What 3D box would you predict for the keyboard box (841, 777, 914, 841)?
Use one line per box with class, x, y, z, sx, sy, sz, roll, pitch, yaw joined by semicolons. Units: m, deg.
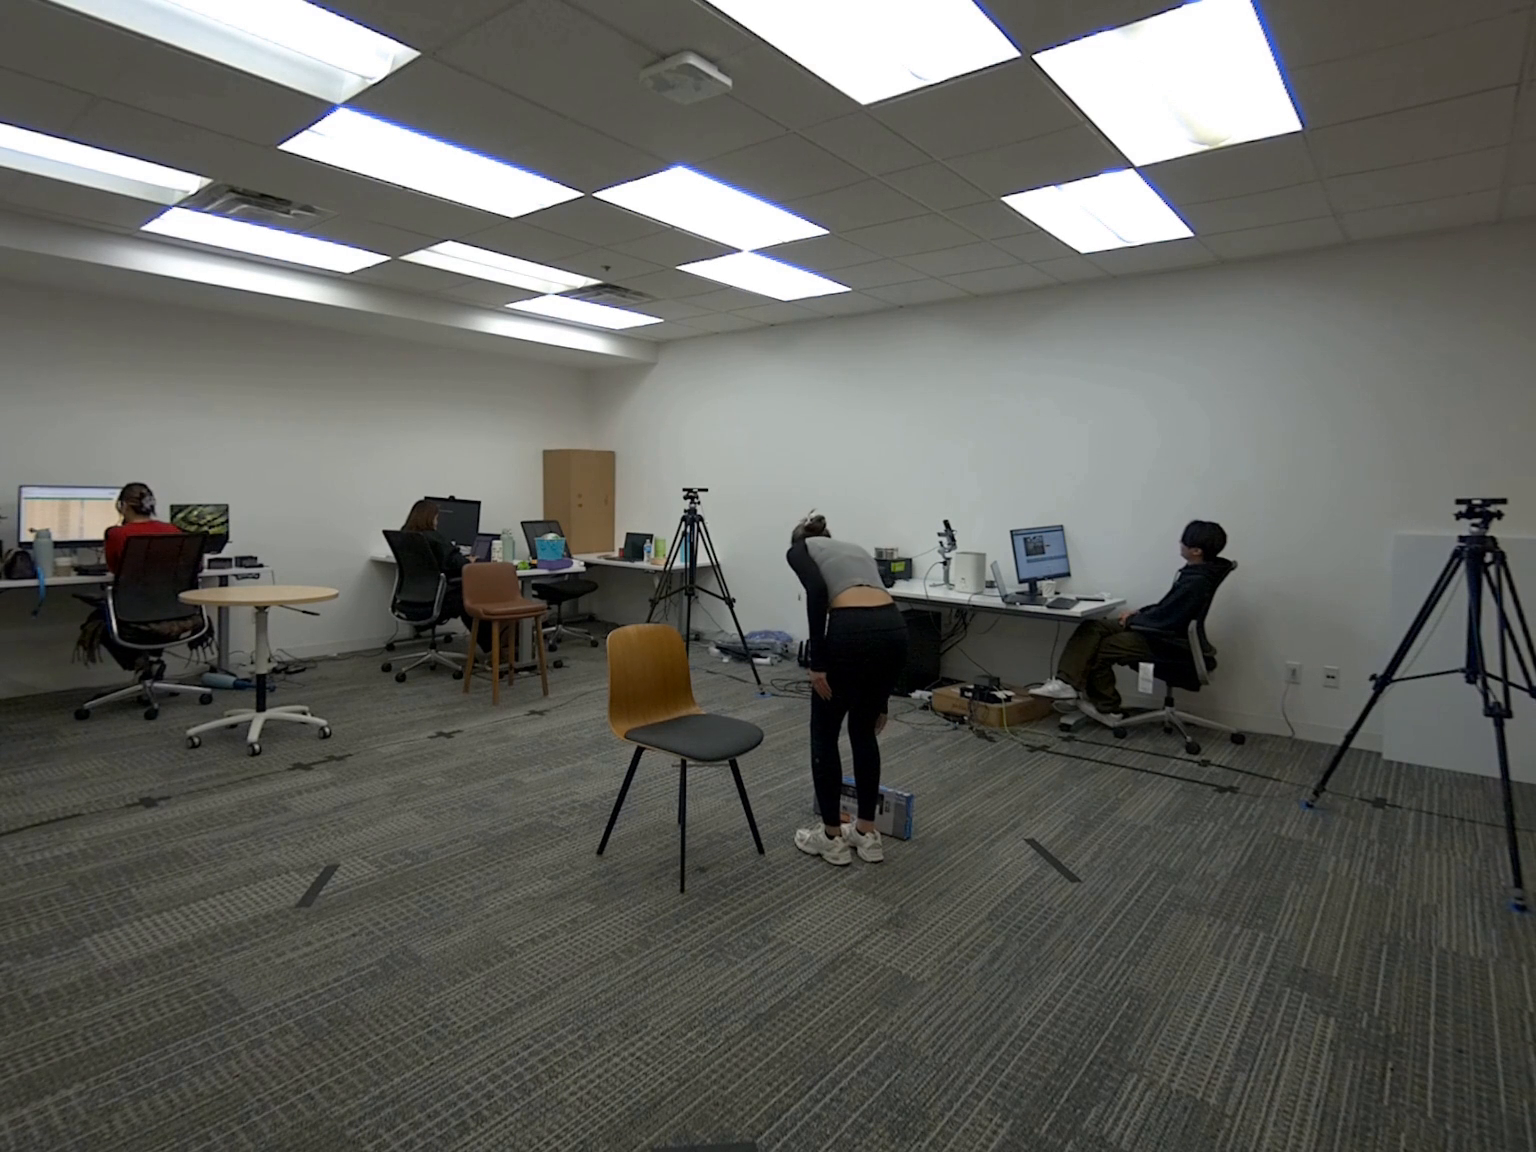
keyboard box;0.388;0.954;3.565;0.451;0.176;0.057;6;0;37
